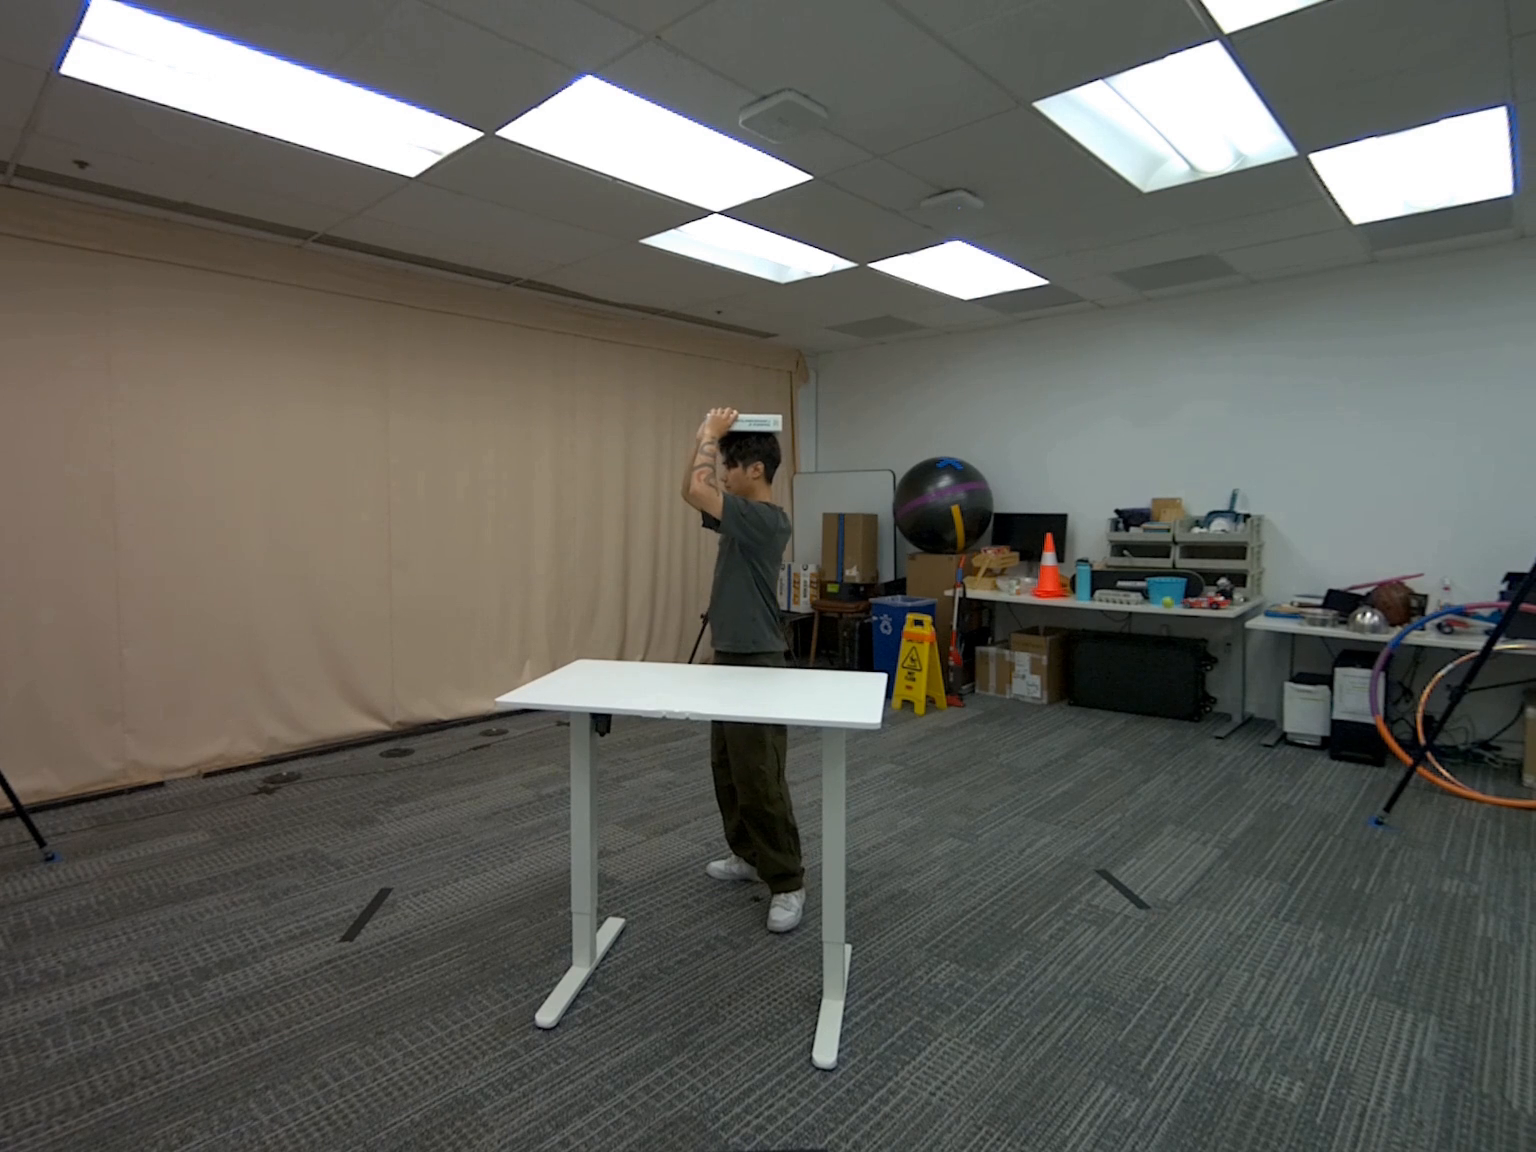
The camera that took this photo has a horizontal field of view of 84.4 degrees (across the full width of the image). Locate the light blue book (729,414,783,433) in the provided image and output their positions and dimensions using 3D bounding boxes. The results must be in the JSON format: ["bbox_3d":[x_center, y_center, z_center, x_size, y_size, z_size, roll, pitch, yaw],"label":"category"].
[{"bbox_3d":[-0.098,-0.537,2.981,0.263,0.059,0.191,1,6,5],"label":"light blue book"}]
